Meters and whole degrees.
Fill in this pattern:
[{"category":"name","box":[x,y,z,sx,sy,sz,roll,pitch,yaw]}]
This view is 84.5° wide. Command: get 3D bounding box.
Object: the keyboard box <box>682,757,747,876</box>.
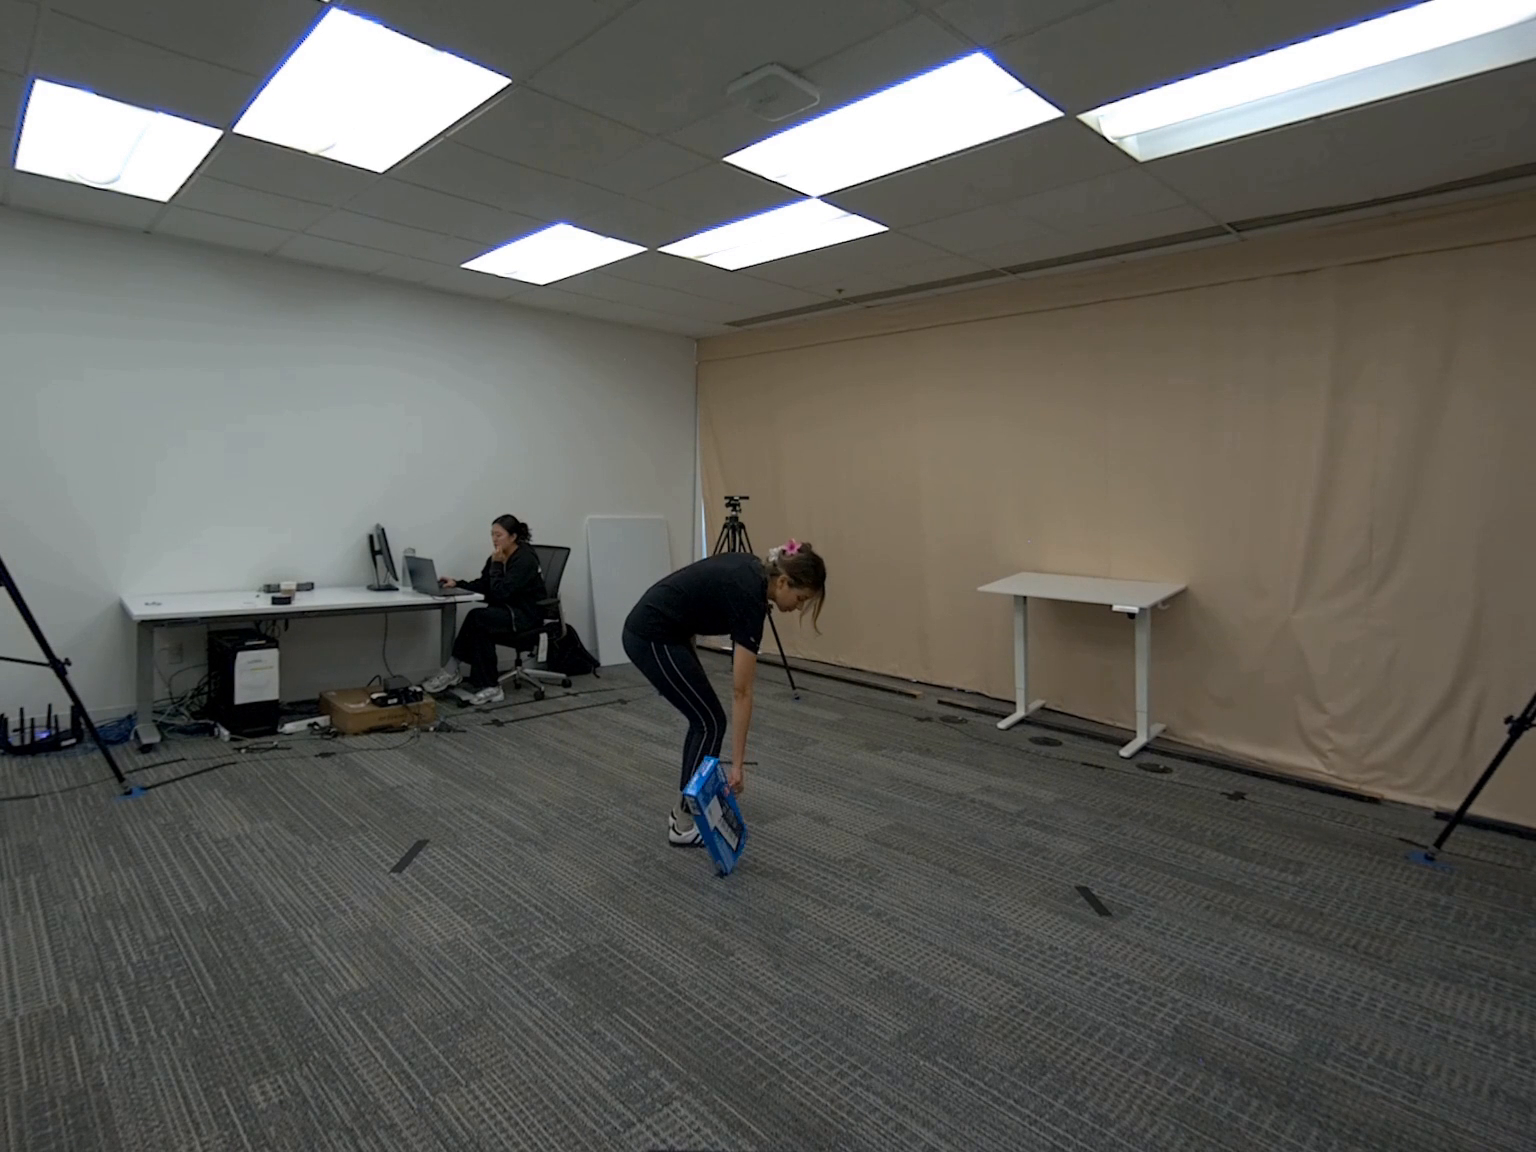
[{"category":"keyboard box","box":[-0.183,0.870,3.059,0.060,0.426,0.176,5,38,29]}]
